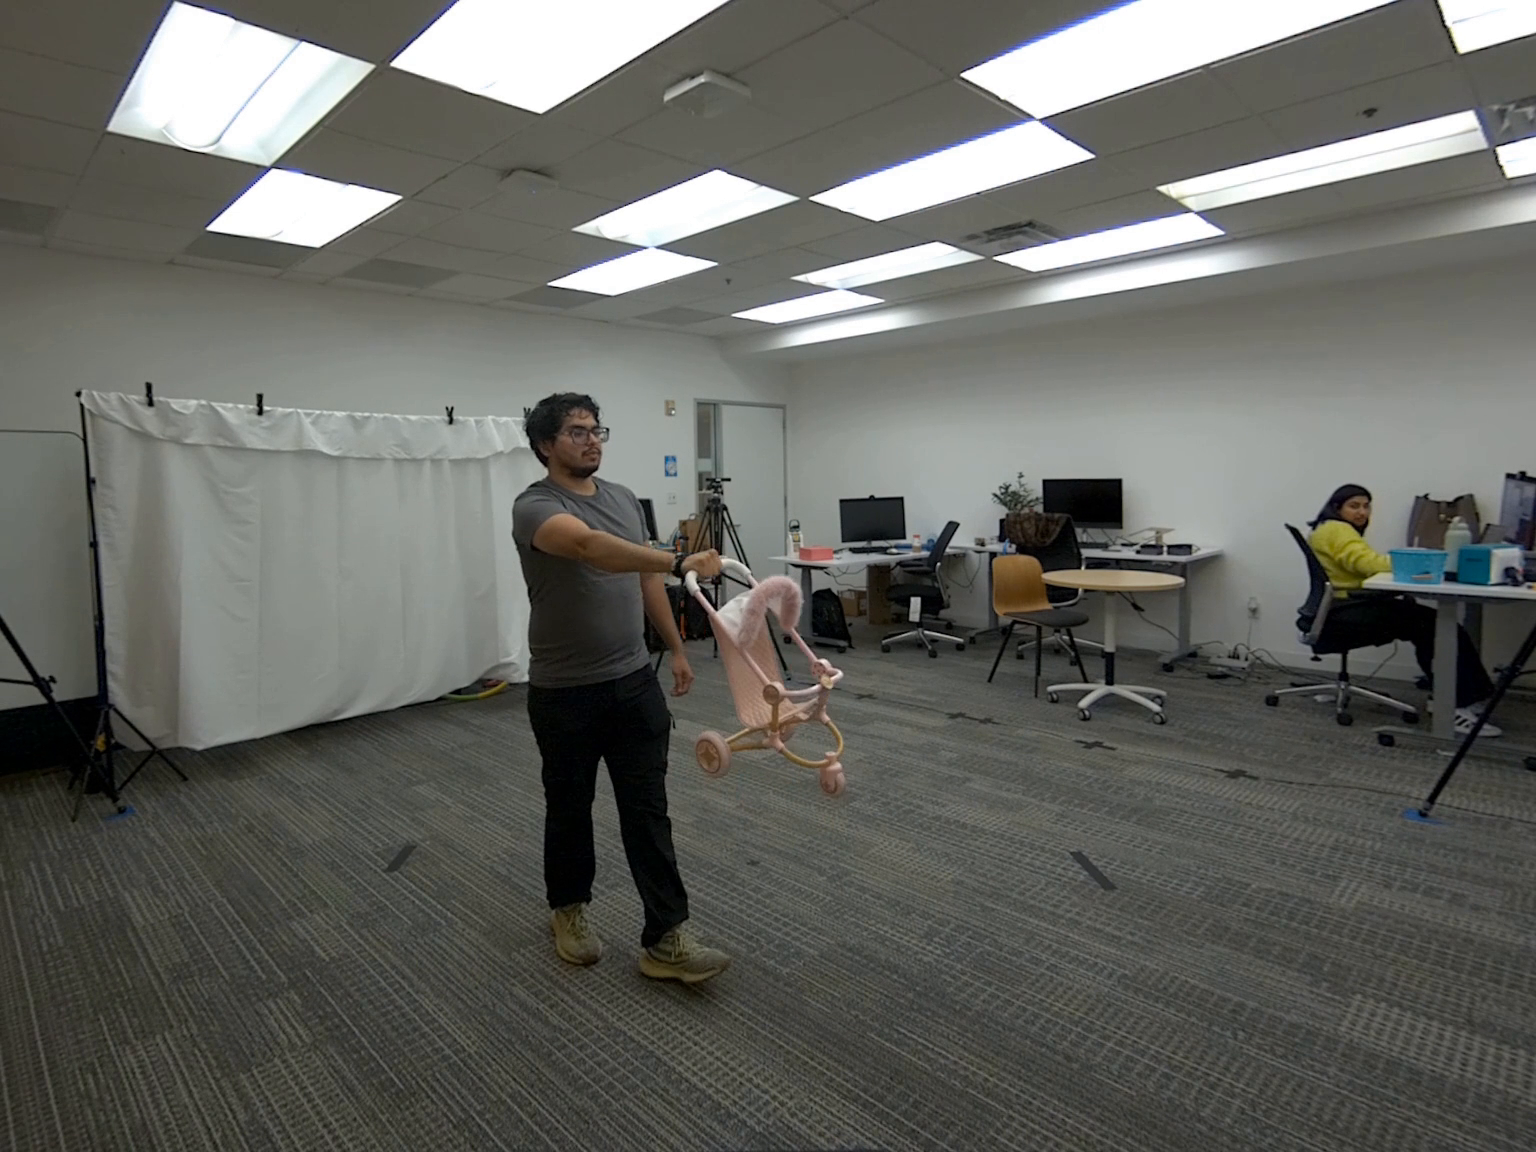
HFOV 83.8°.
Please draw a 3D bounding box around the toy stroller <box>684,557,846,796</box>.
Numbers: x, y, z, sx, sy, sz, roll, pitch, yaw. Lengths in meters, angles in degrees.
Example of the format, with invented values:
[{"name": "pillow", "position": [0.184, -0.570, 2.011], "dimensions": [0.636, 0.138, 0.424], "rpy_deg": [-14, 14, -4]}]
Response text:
[{"name": "toy stroller", "position": [0.015, 0.238, 1.982], "dimensions": [0.351, 0.532, 0.275], "rpy_deg": [-1, 8, 43]}]
